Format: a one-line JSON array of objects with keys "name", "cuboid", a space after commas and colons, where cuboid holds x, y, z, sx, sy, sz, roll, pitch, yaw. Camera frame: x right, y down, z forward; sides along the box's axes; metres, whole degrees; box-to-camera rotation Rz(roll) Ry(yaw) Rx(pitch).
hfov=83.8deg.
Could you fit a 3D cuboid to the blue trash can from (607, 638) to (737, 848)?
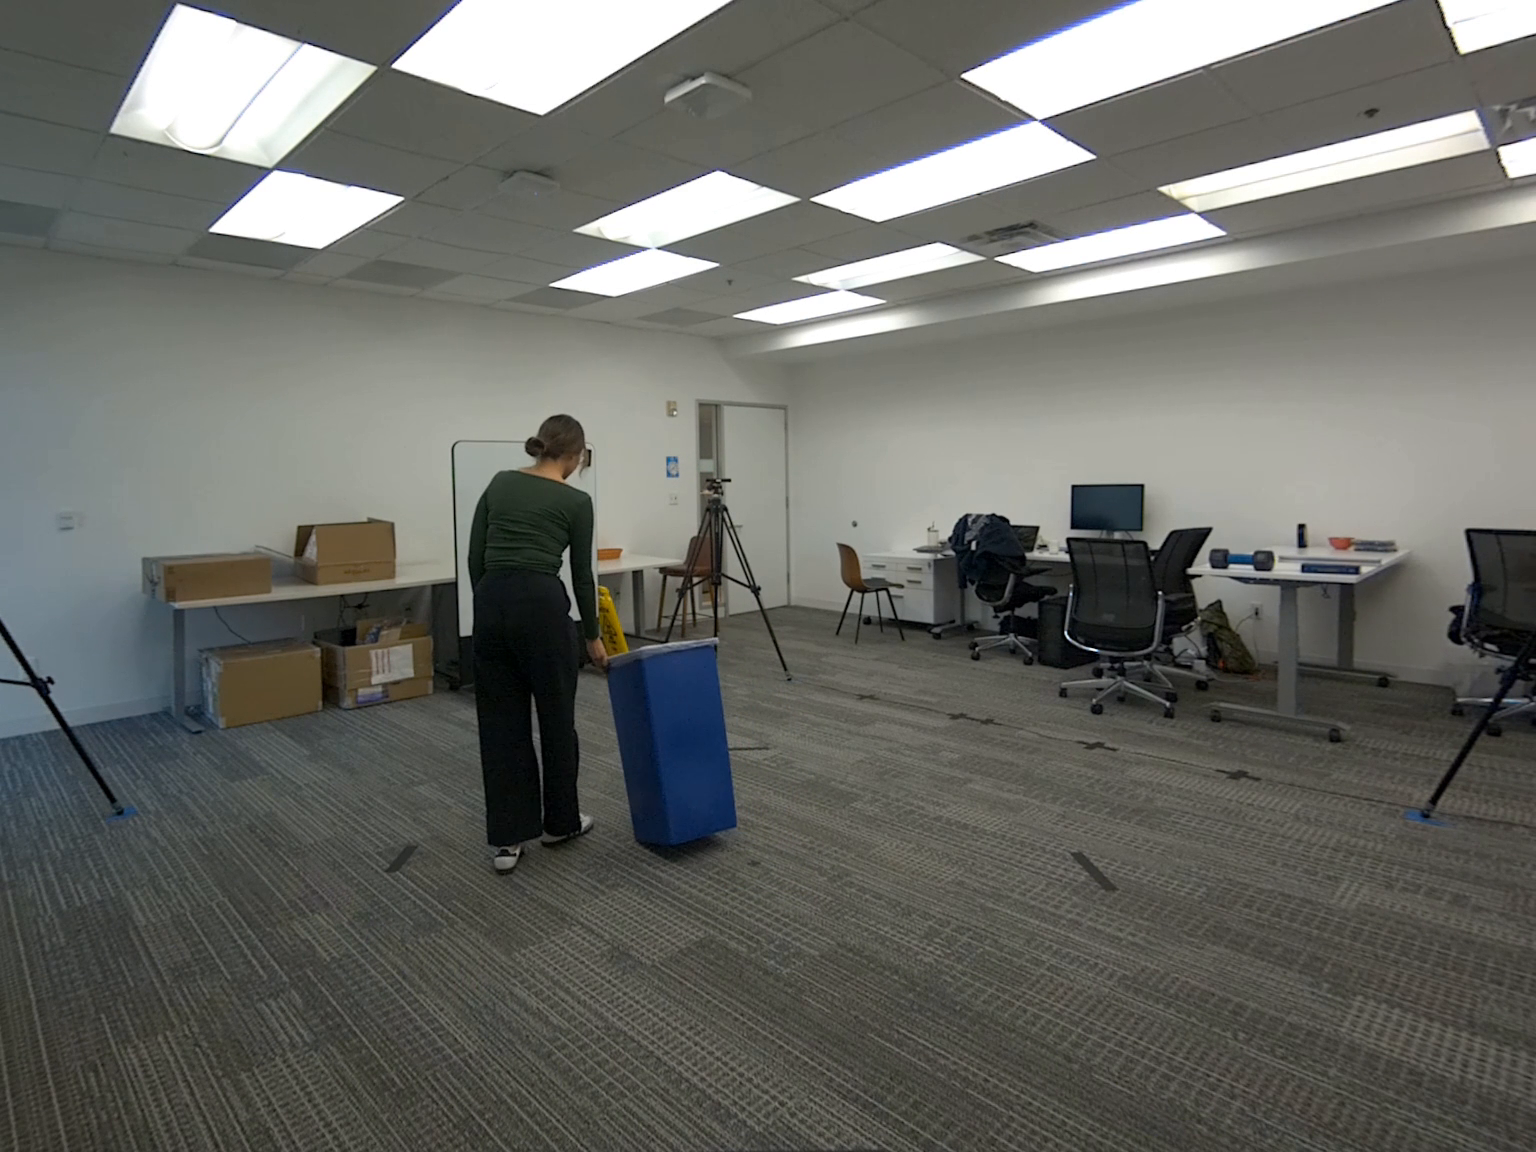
[{"name": "blue trash can", "cuboid": [-0.371, 0.635, 3.342, 0.368, 0.721, 0.380, -4, -11, -35]}]
